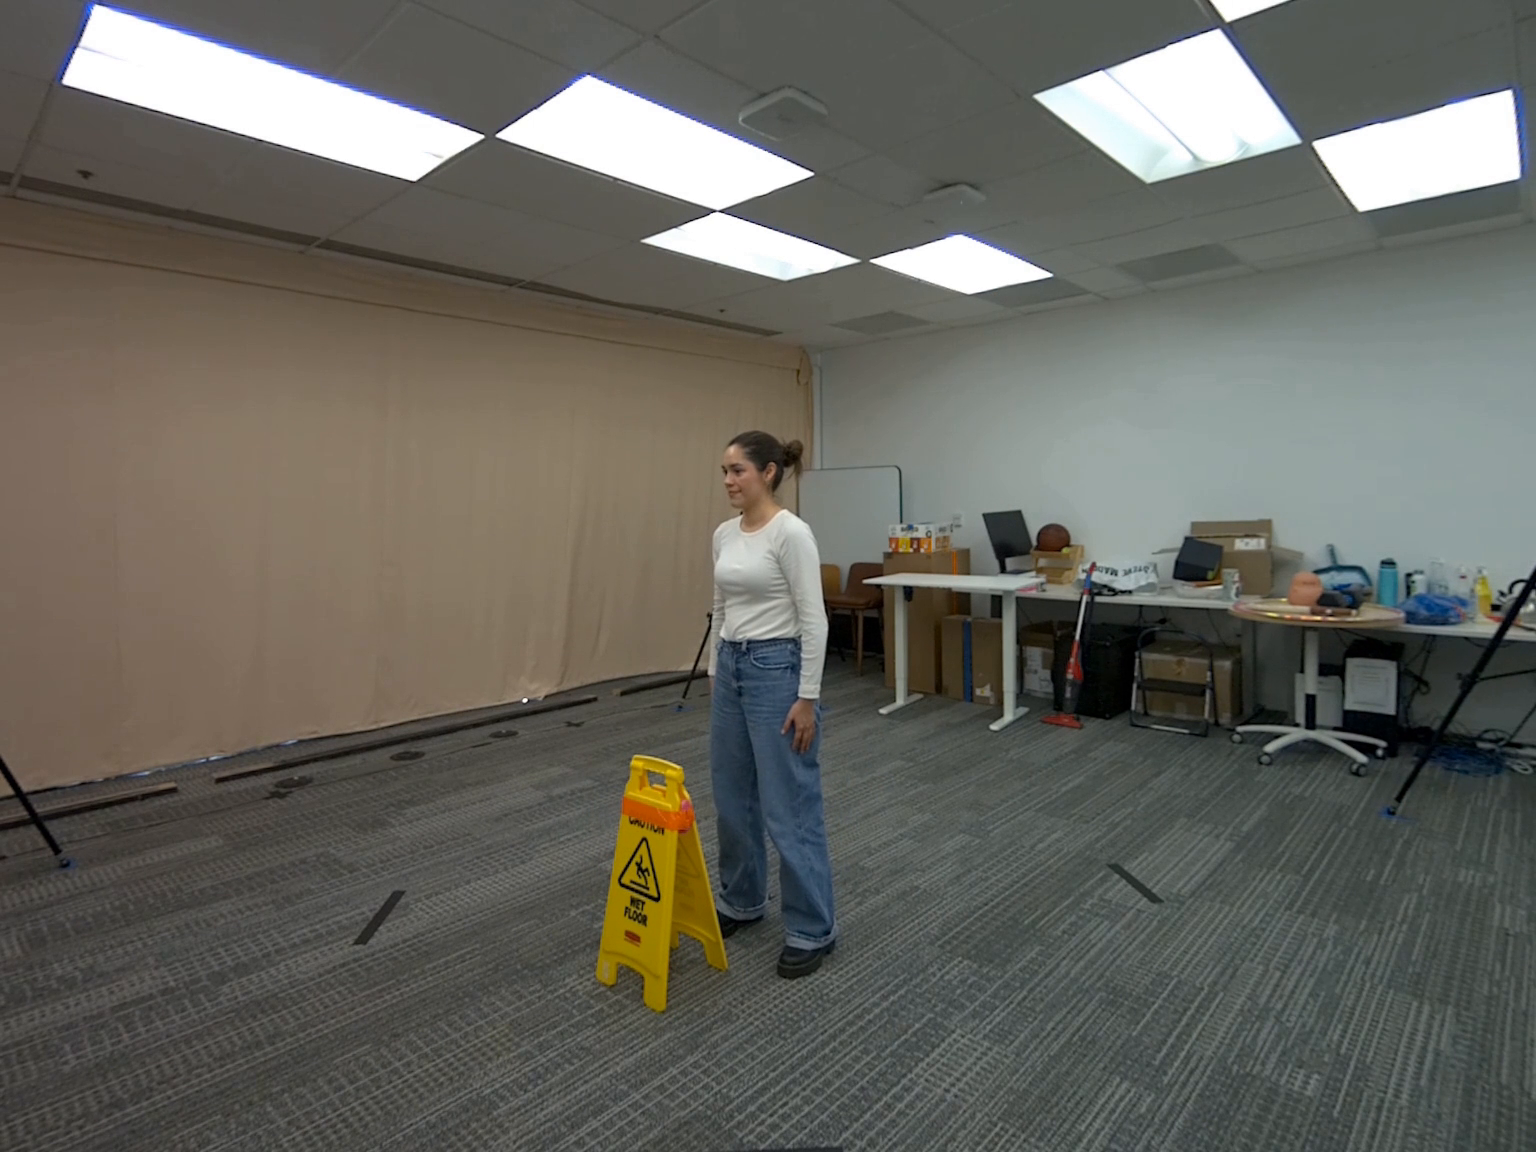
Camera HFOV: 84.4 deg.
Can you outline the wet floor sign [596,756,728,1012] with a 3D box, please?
[{"bbox_3d":[-0.315,0.867,2.493,0.291,0.644,0.281,2,4,39],"label":"wet floor sign"}]
